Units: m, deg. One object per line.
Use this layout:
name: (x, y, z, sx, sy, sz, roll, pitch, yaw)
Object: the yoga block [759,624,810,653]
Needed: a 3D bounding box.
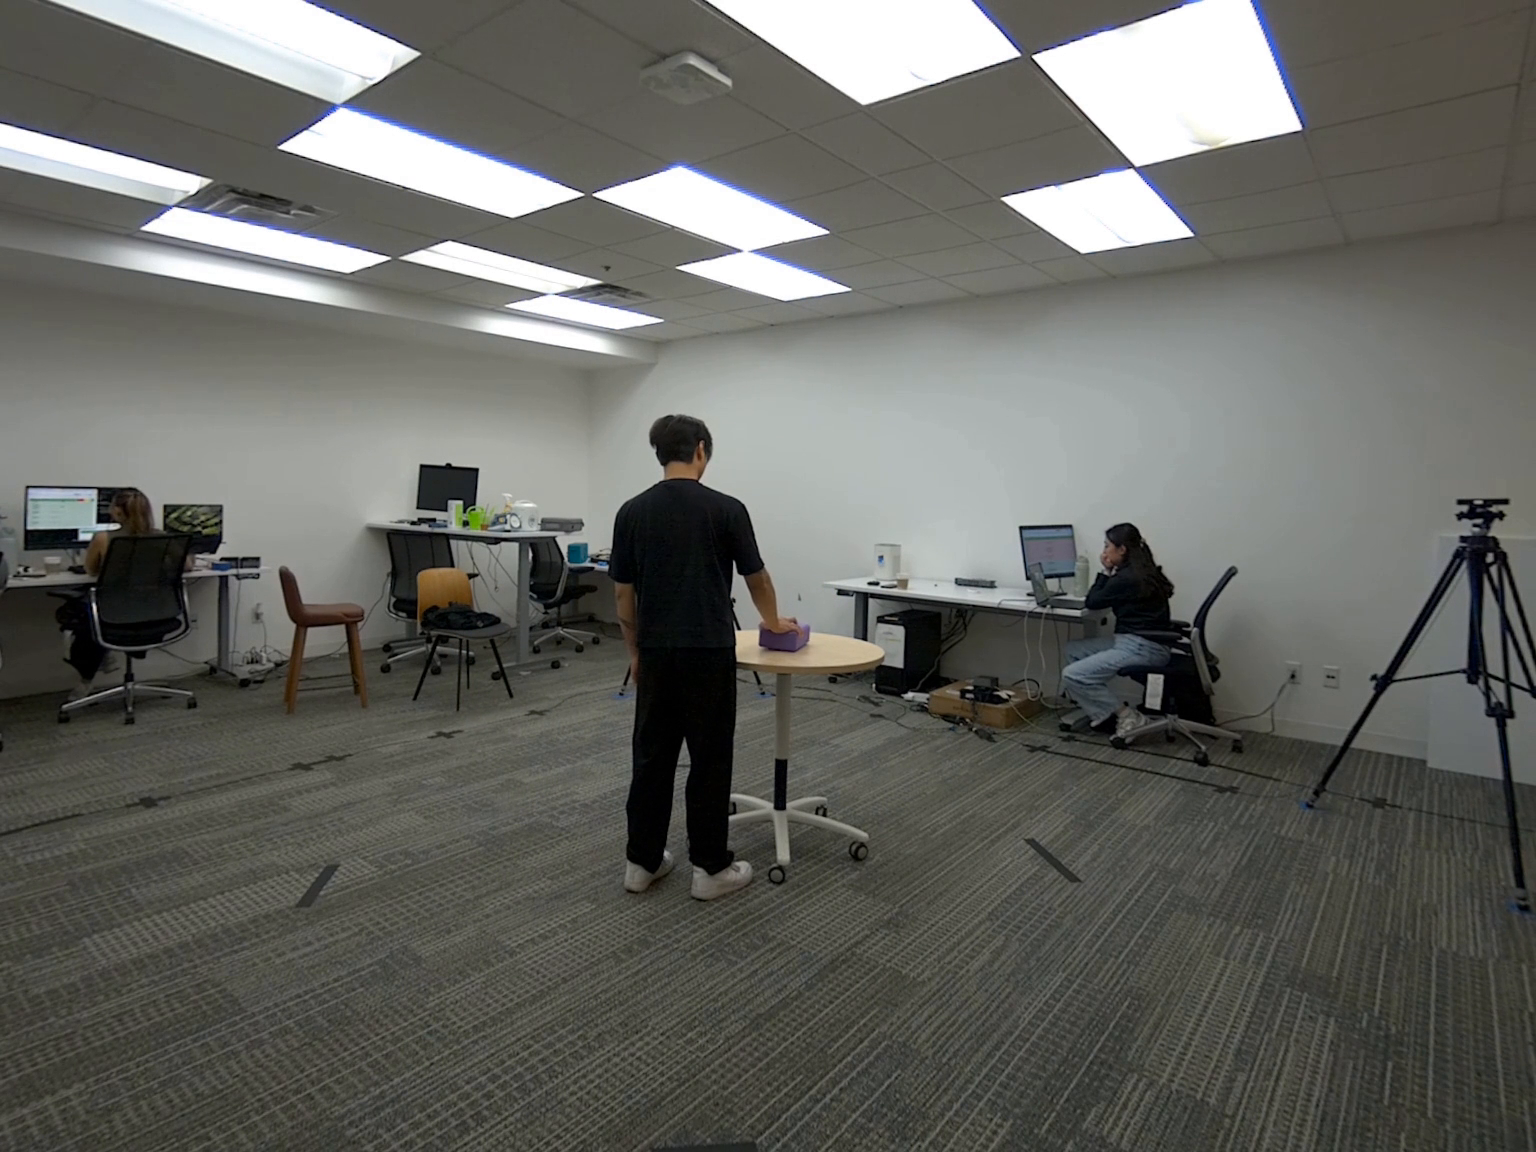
yoga block: (0.060, 0.227, 3.312, 0.152, 0.076, 0.226, 6, 6, 16)
